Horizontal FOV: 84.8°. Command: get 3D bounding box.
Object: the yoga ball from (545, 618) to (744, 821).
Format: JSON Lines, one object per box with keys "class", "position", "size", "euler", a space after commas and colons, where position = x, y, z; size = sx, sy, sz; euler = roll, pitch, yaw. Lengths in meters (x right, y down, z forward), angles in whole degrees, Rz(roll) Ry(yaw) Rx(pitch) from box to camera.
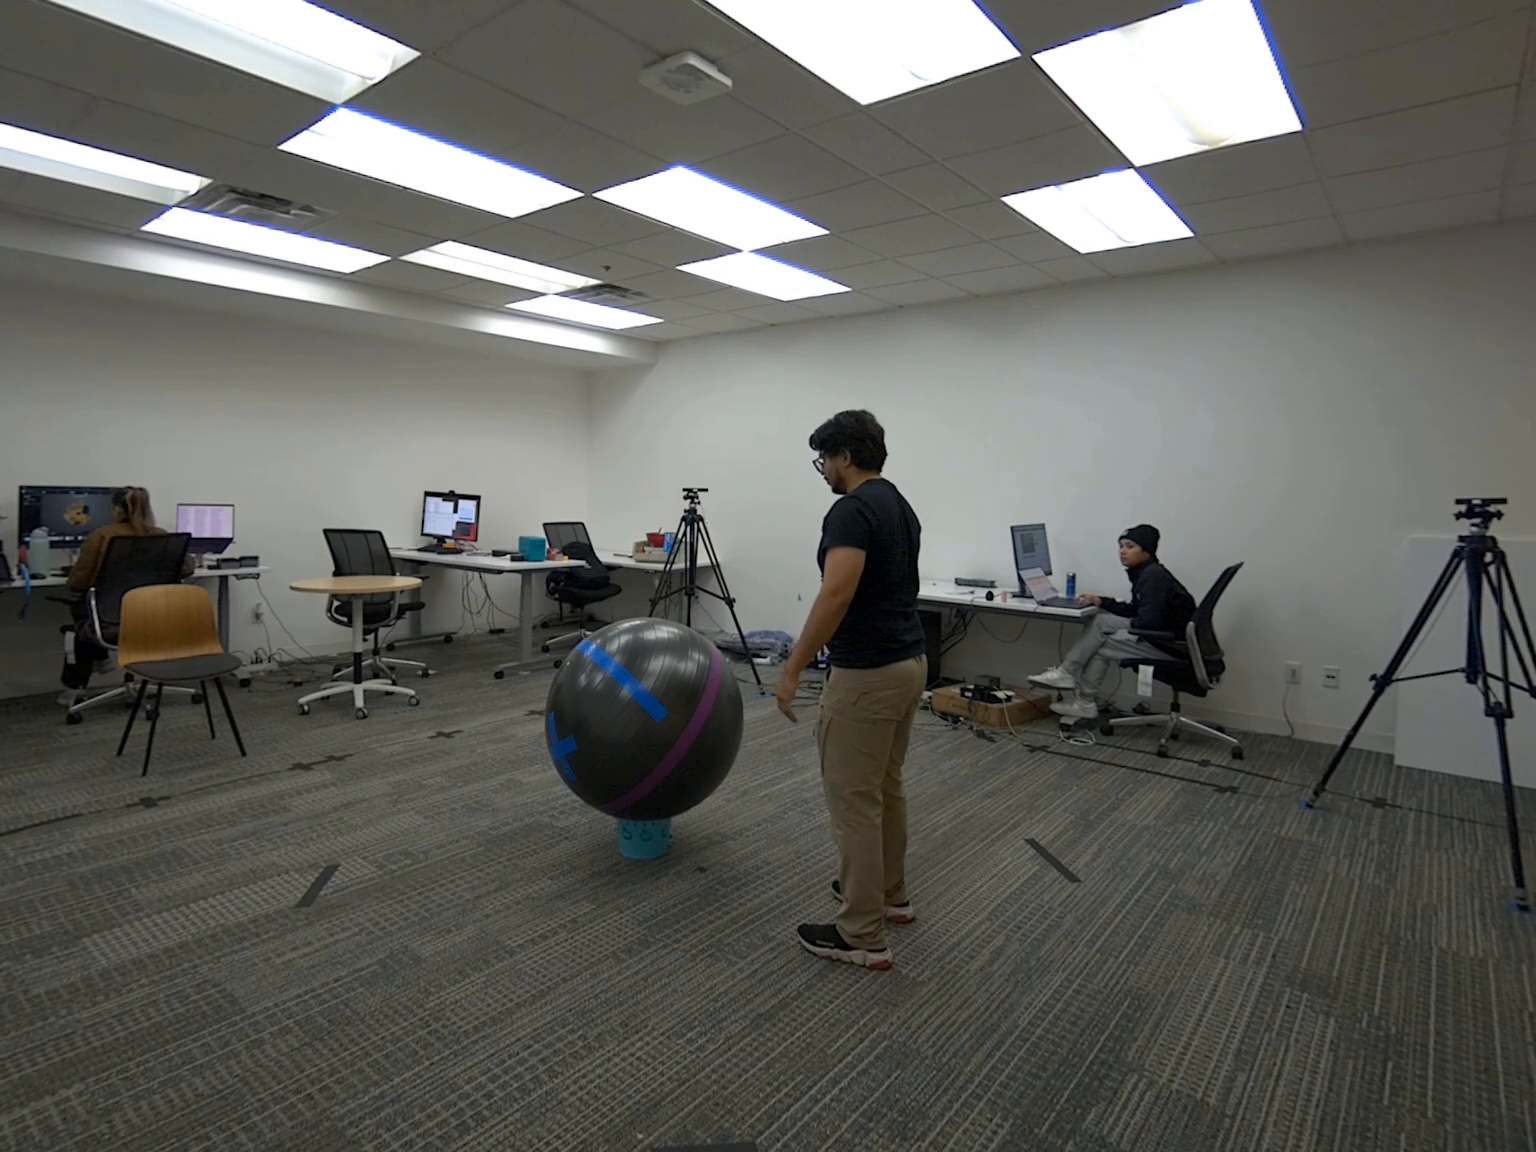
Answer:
{"class": "yoga ball", "position": [-0.481, 0.540, 3.260], "size": [0.757, 0.756, 0.761], "euler": [1, 4, -2]}
